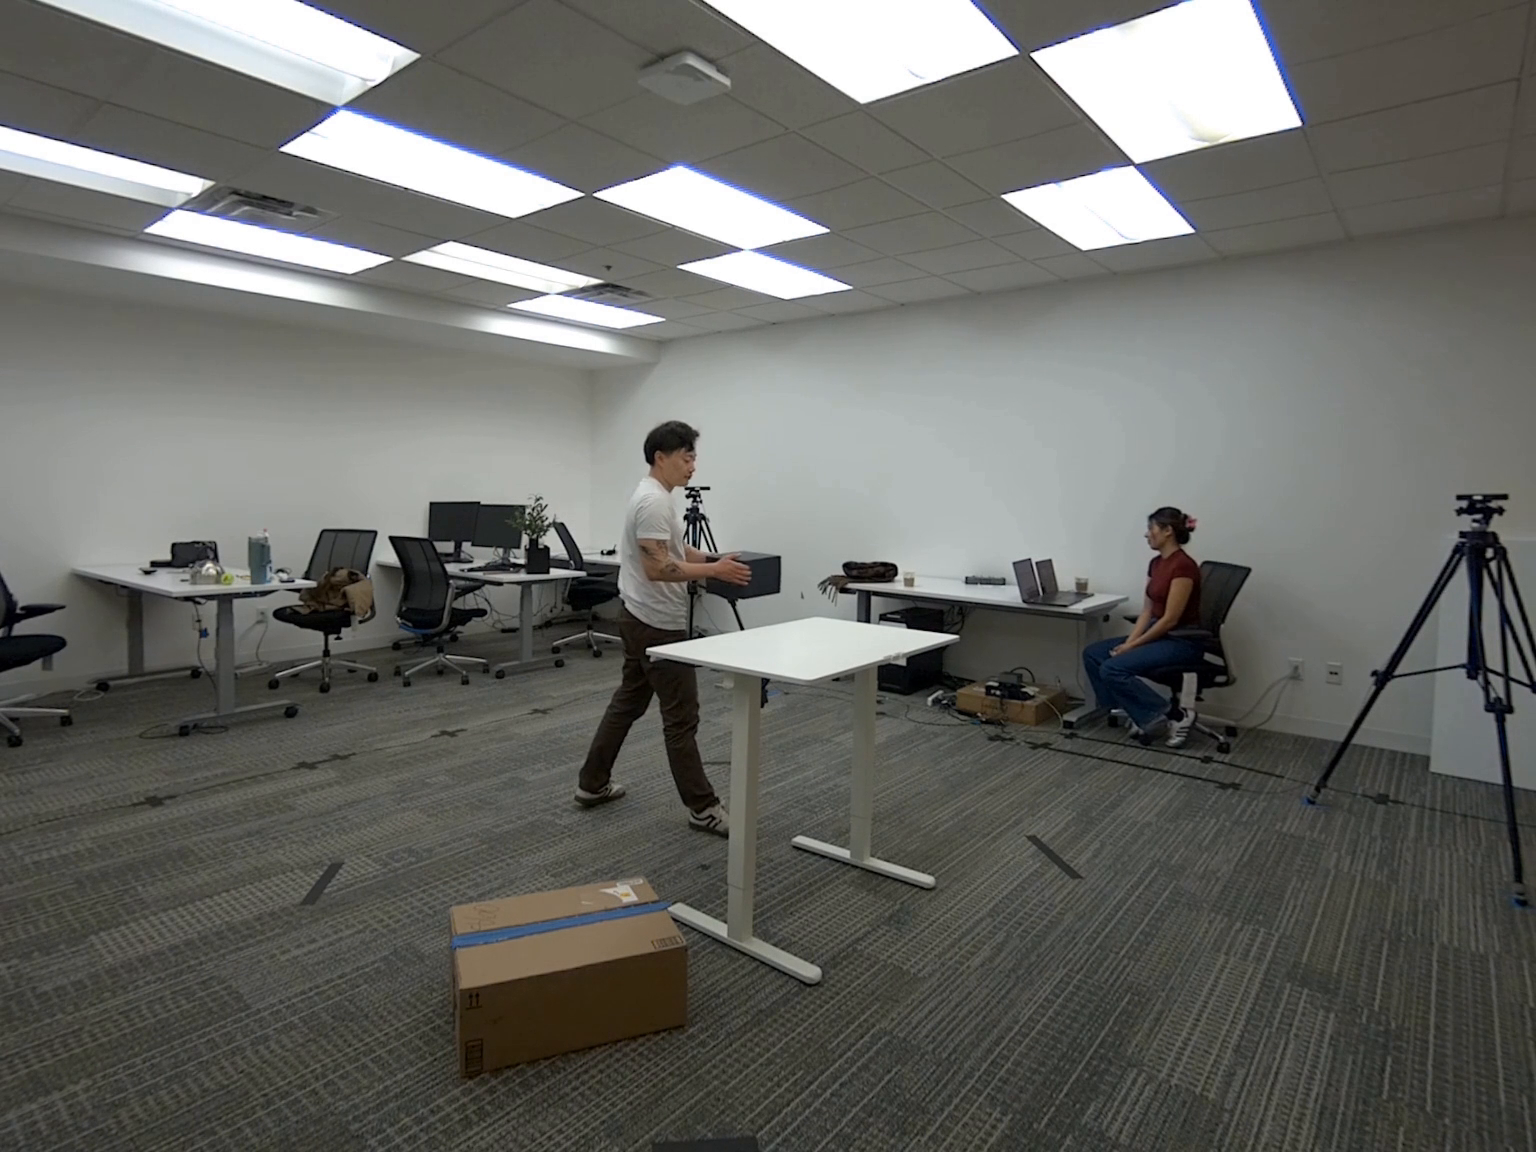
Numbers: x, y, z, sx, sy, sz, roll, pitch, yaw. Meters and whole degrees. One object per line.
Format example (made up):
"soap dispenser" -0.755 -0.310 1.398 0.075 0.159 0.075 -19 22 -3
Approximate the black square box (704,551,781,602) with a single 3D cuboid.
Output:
"black square box" -0.110 -0.007 3.478 0.225 0.155 0.221 8 11 42
